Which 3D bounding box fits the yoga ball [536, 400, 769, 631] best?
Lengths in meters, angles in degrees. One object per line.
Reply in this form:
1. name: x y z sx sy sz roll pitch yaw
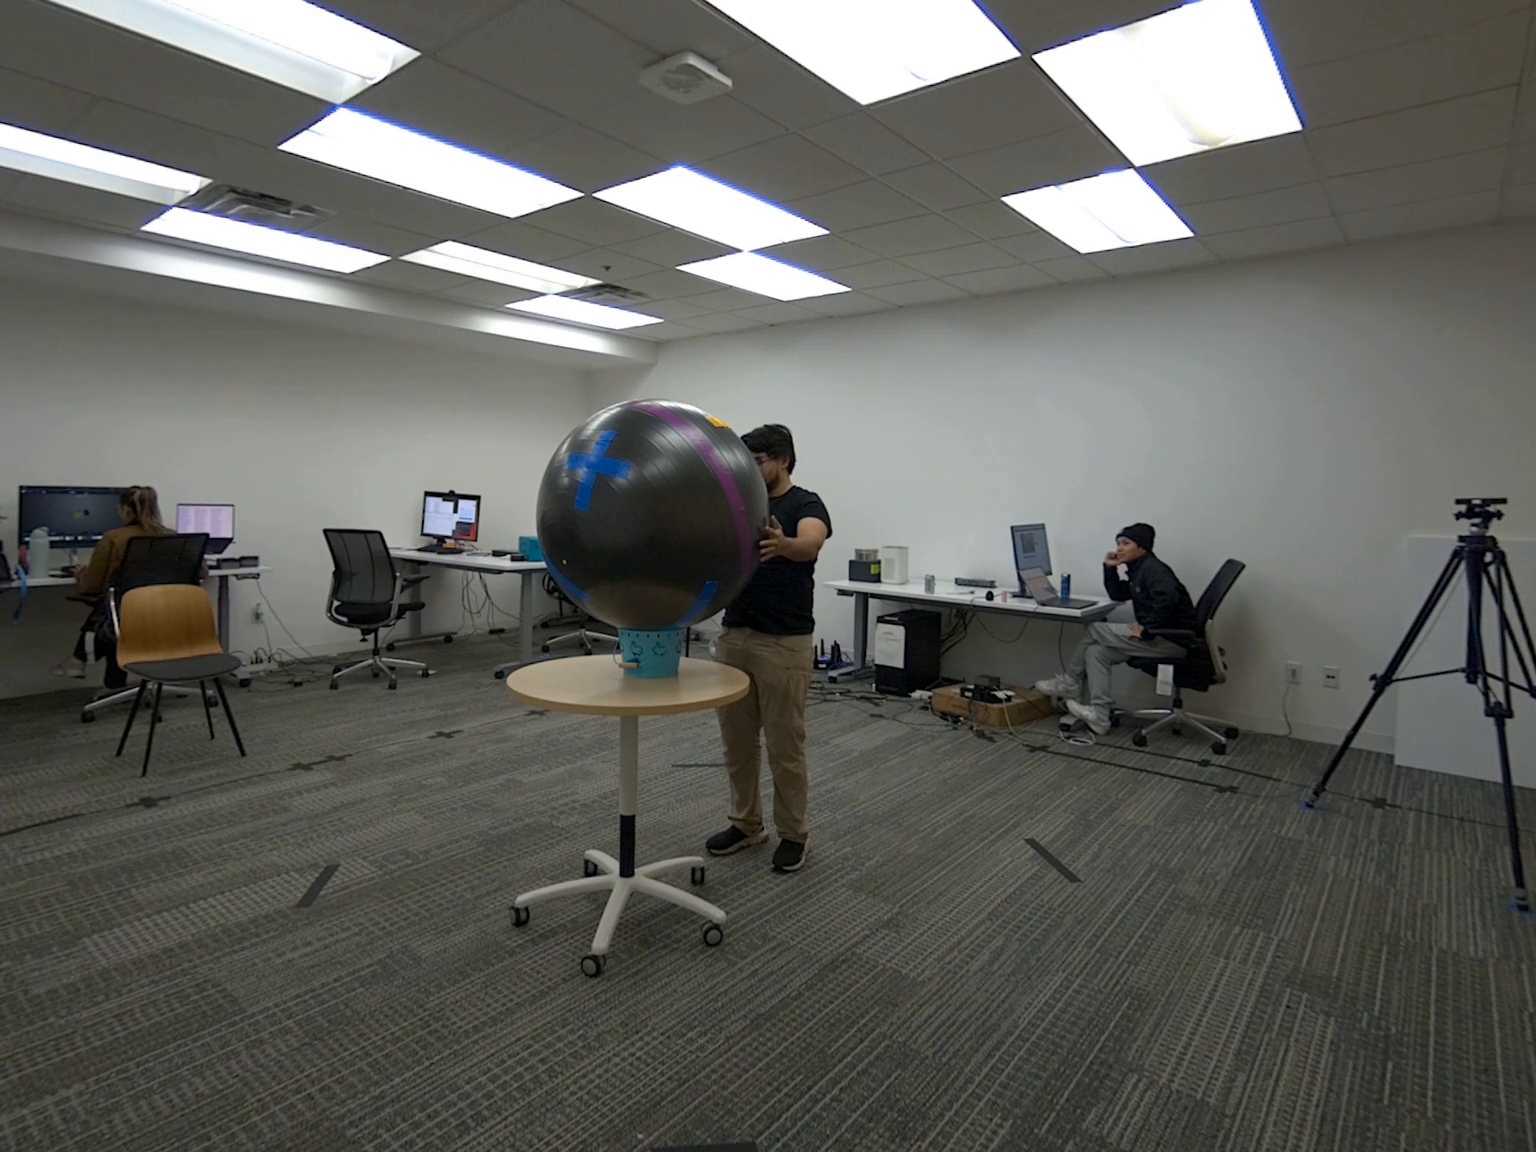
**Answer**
1. yoga ball: -0.381 -0.194 2.778 0.757 0.755 0.762 1 4 -2
